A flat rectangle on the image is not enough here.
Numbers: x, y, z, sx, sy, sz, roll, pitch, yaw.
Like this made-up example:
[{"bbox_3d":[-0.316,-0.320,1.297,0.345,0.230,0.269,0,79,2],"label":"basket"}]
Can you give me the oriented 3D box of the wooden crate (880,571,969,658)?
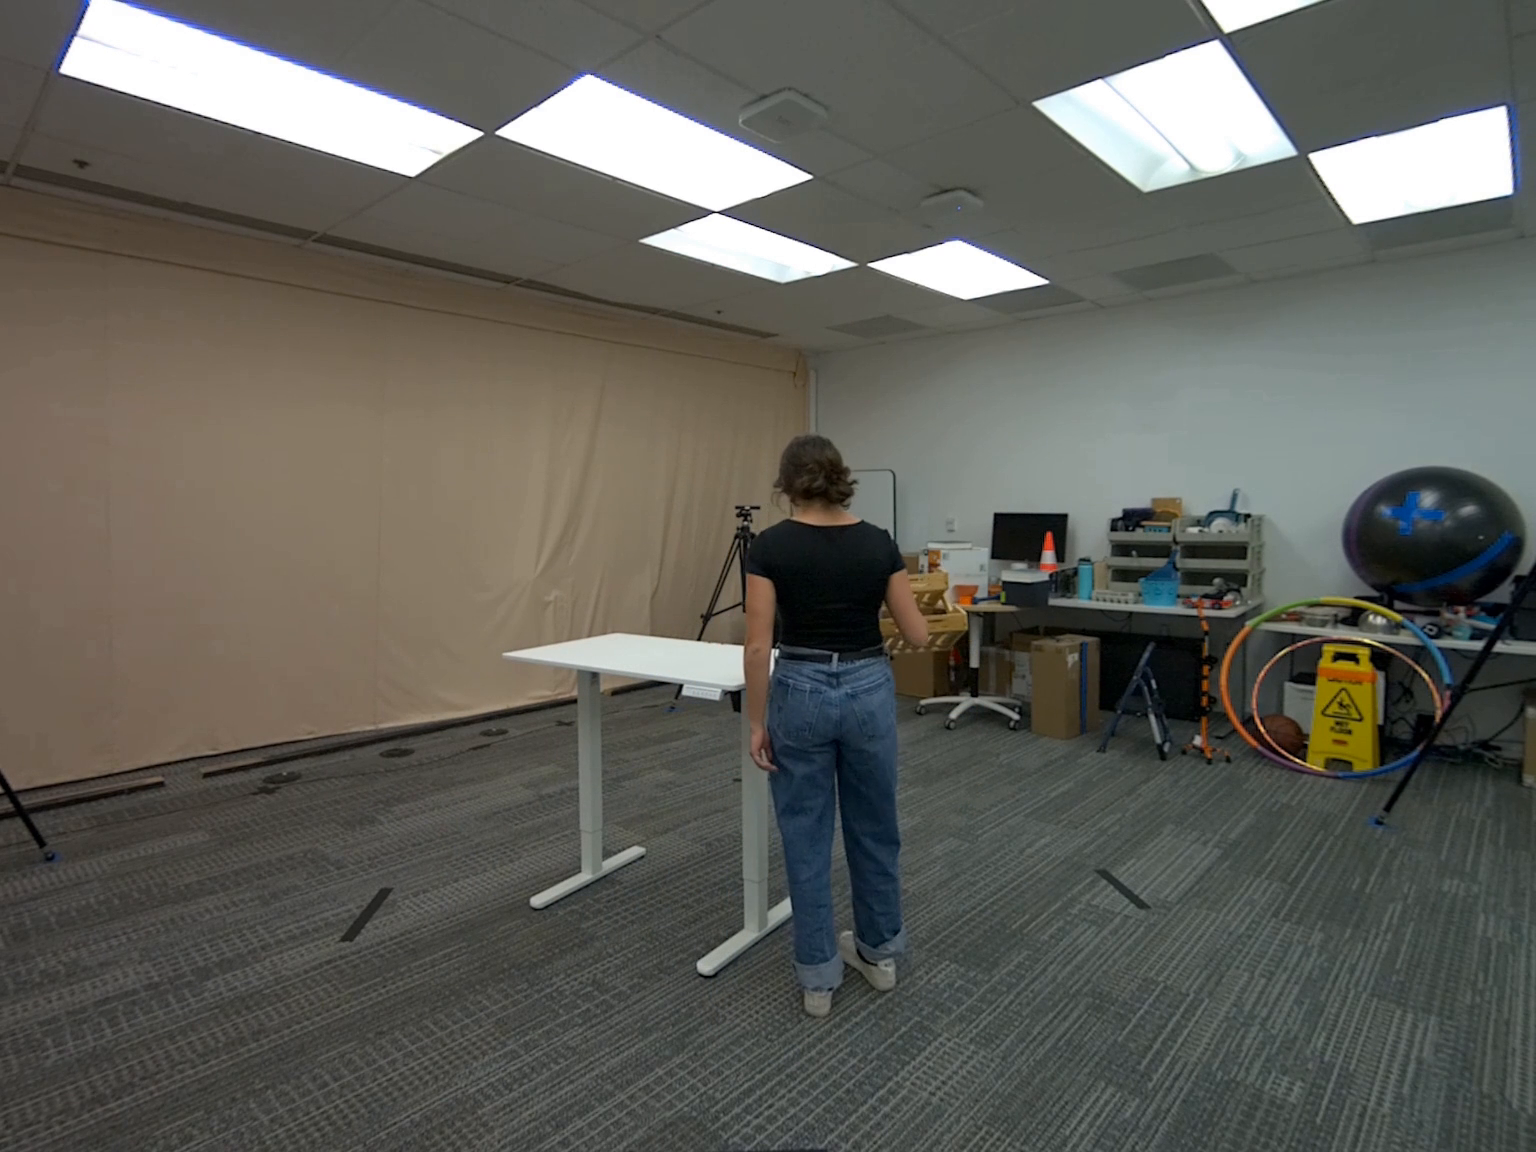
[{"bbox_3d":[0.446,0.104,2.724,0.323,0.277,0.298,-4,-22,-4],"label":"wooden crate"}]
